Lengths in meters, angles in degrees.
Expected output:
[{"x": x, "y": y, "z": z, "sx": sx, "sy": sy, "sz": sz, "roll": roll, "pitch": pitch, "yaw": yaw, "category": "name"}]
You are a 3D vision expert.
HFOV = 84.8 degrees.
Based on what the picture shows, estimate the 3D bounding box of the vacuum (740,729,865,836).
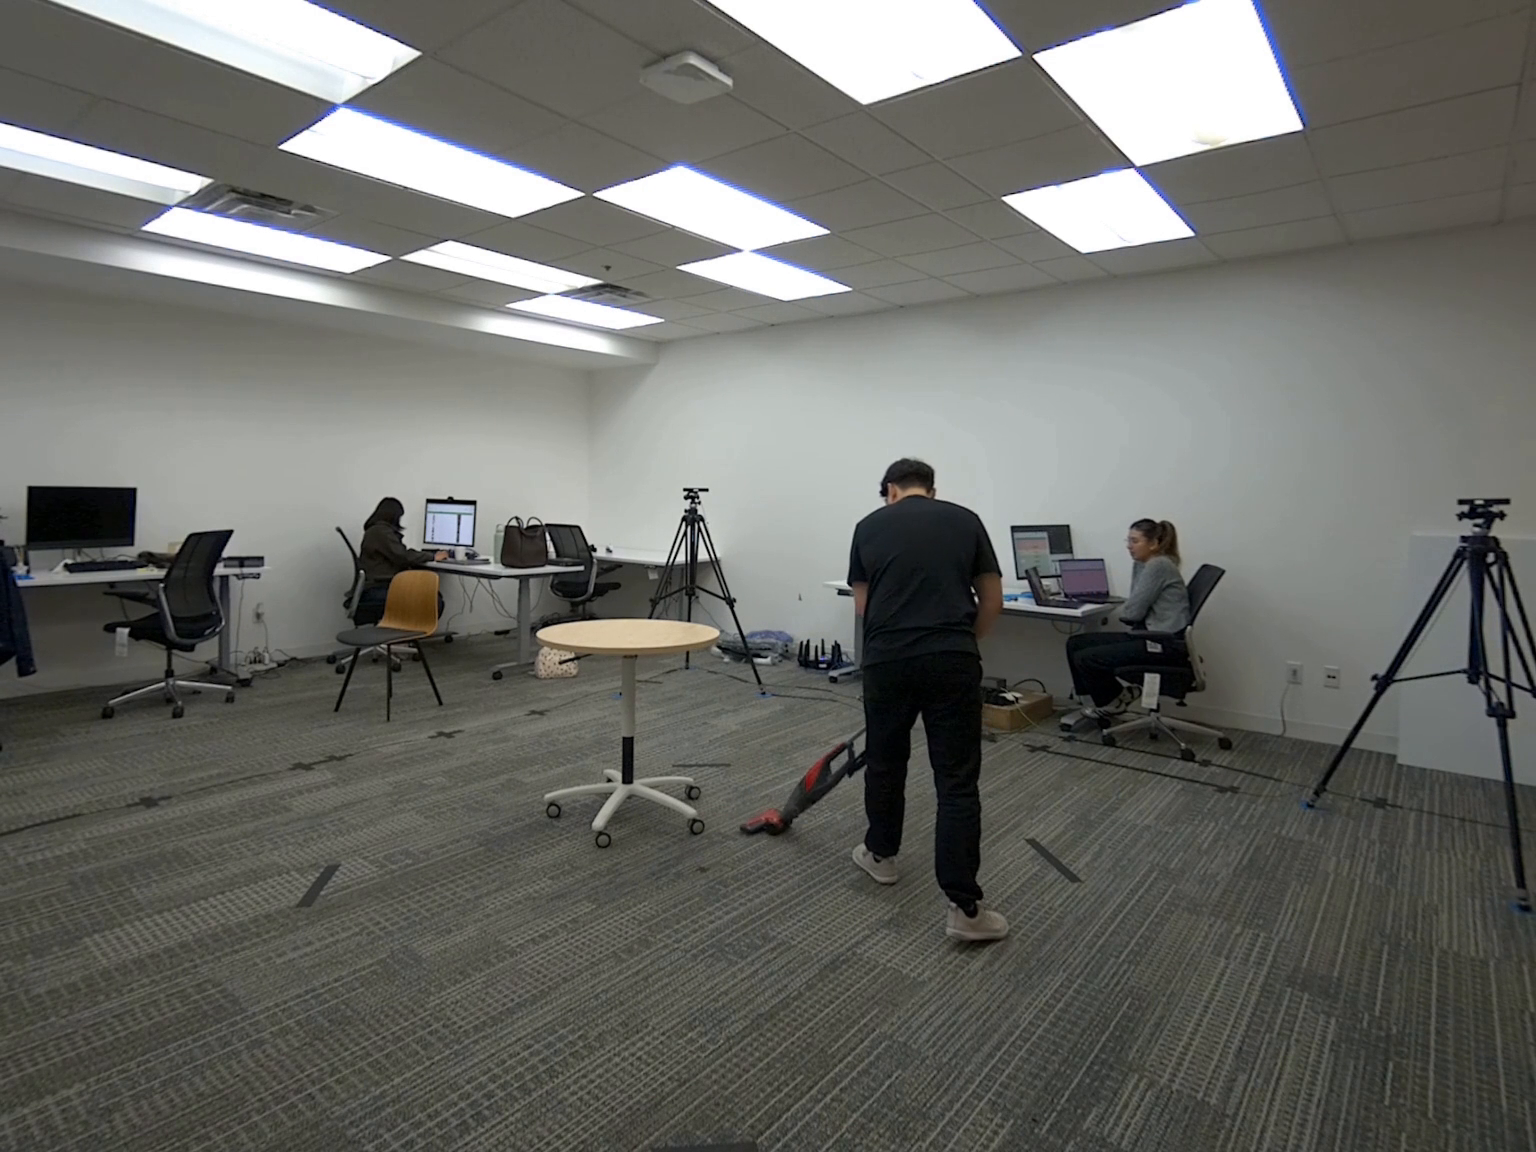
[{"x": 0.306, "y": 0.686, "z": 3.289, "sx": 1.050, "sy": 0.147, "sz": 0.246, "roll": -46, "pitch": -17, "yaw": 25, "category": "vacuum"}]
